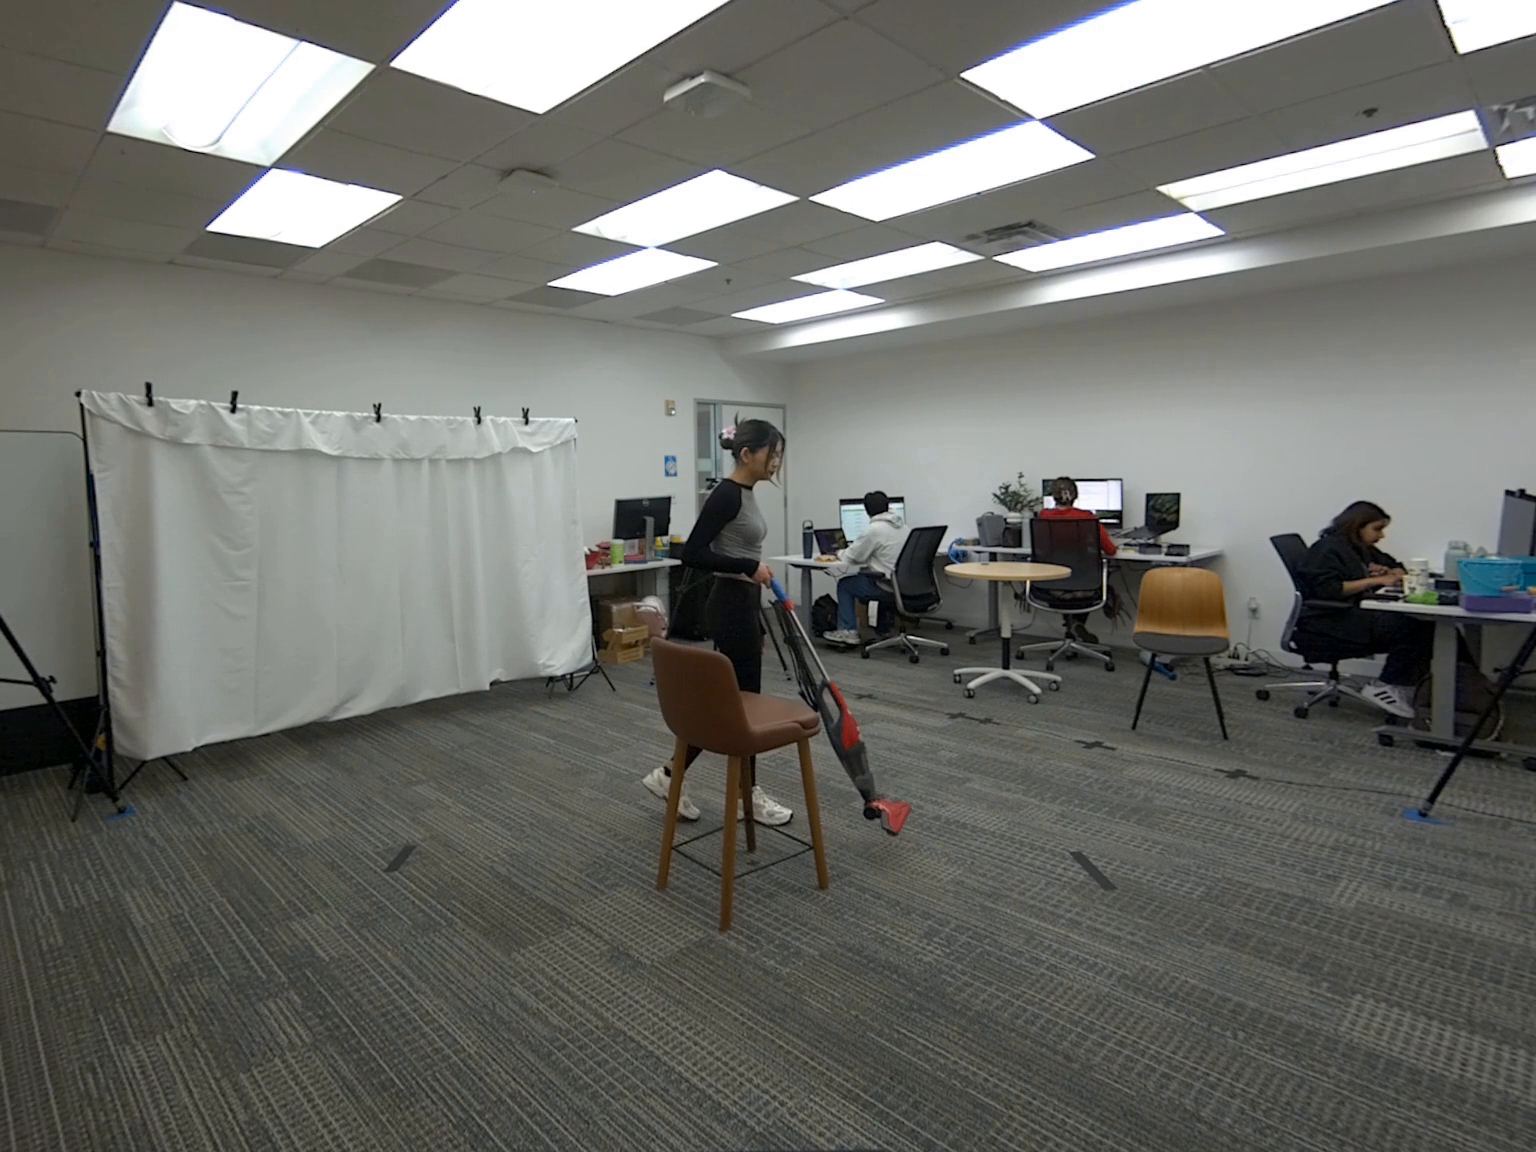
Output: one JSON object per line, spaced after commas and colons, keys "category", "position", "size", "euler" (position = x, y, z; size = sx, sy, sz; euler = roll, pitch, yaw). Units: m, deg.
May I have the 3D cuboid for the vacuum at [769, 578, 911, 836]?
{"category": "vacuum", "position": [0.206, 0.422, 3.216], "size": [0.145, 1.059, 0.248], "euler": [-30, -7, 19]}
